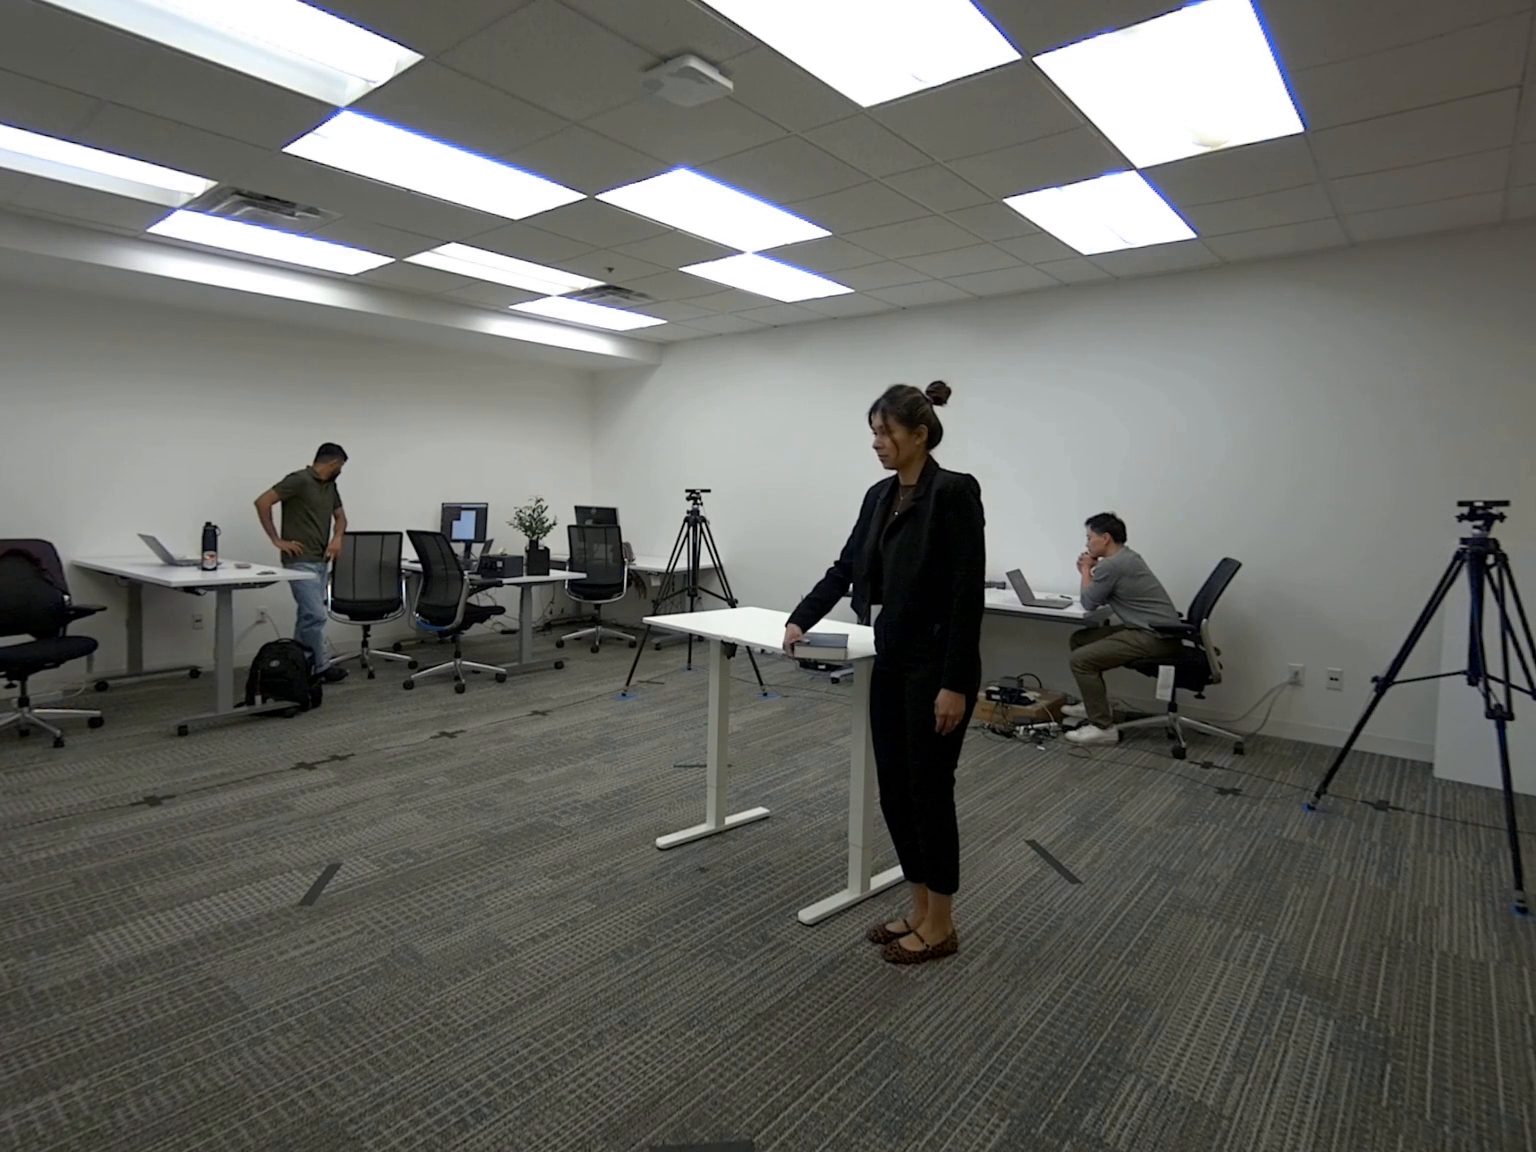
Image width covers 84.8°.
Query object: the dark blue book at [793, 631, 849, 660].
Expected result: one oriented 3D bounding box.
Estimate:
[{"bbox_3d":[0.169,0.221,2.707,0.165,0.045,0.244,3,6,7],"label":"dark blue book"}]
